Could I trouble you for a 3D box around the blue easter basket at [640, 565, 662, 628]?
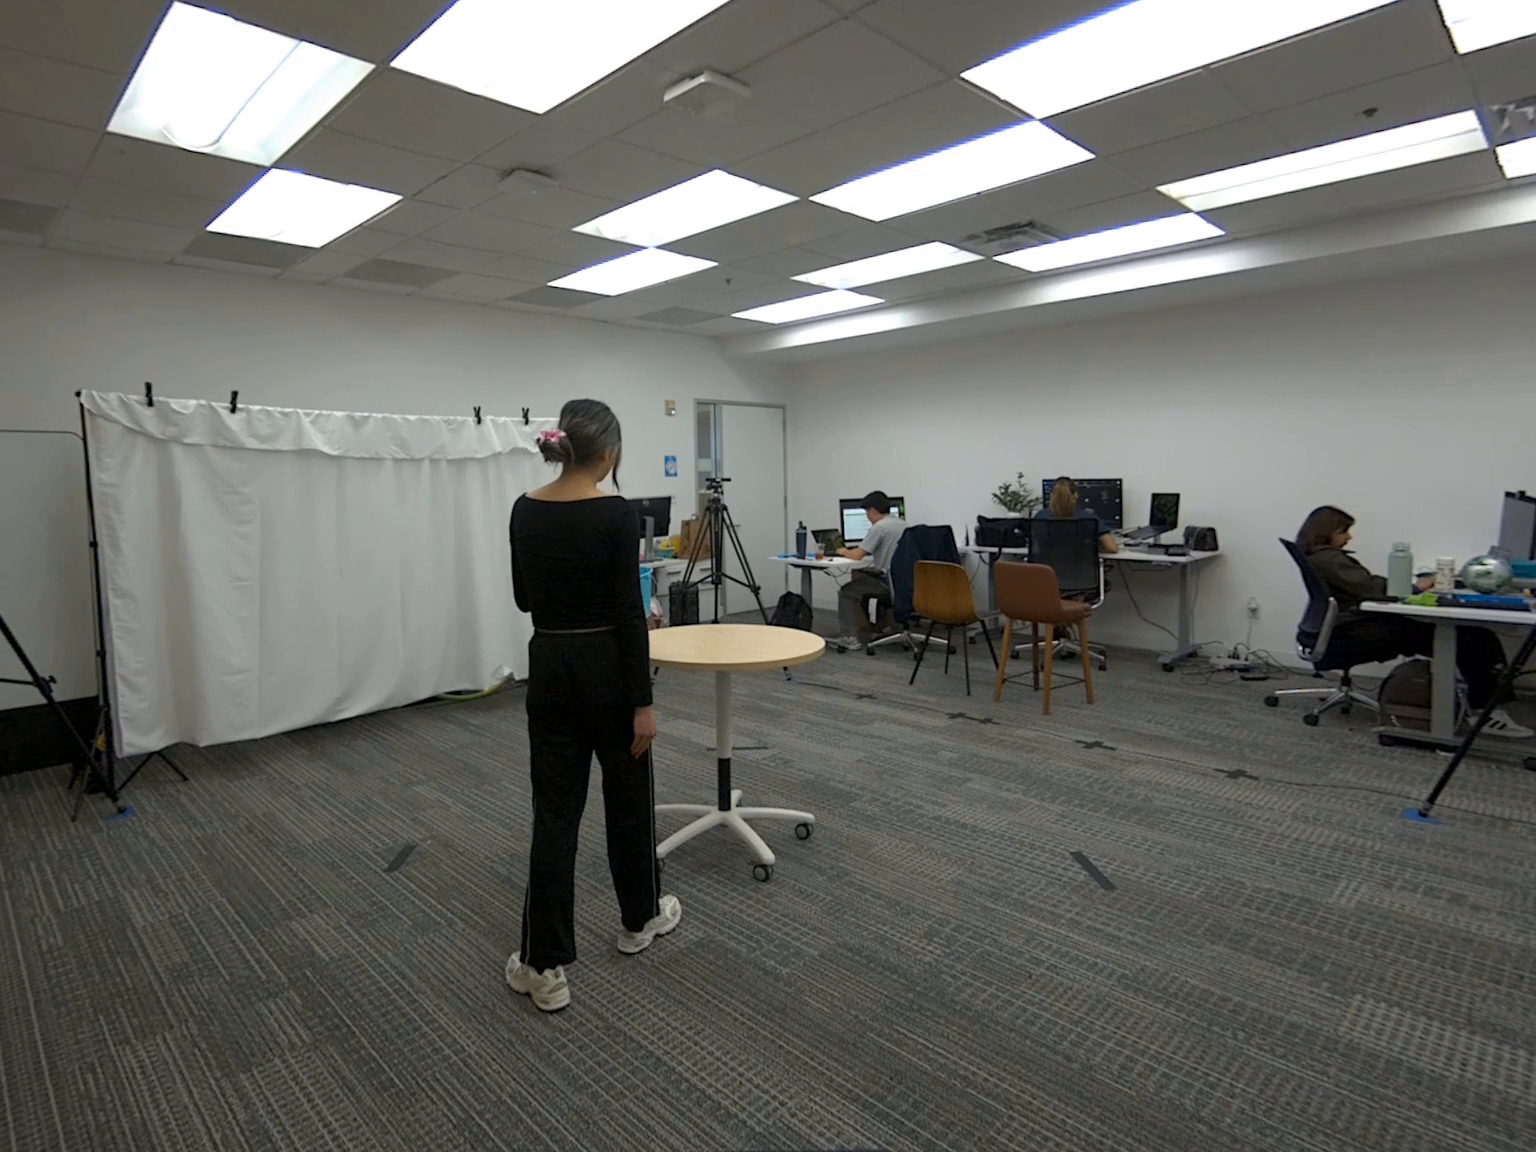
[{"bbox_3d":[-0.493,0.070,2.866,0.243,0.154,0.246,-5,11,-1],"label":"blue easter basket"}]
